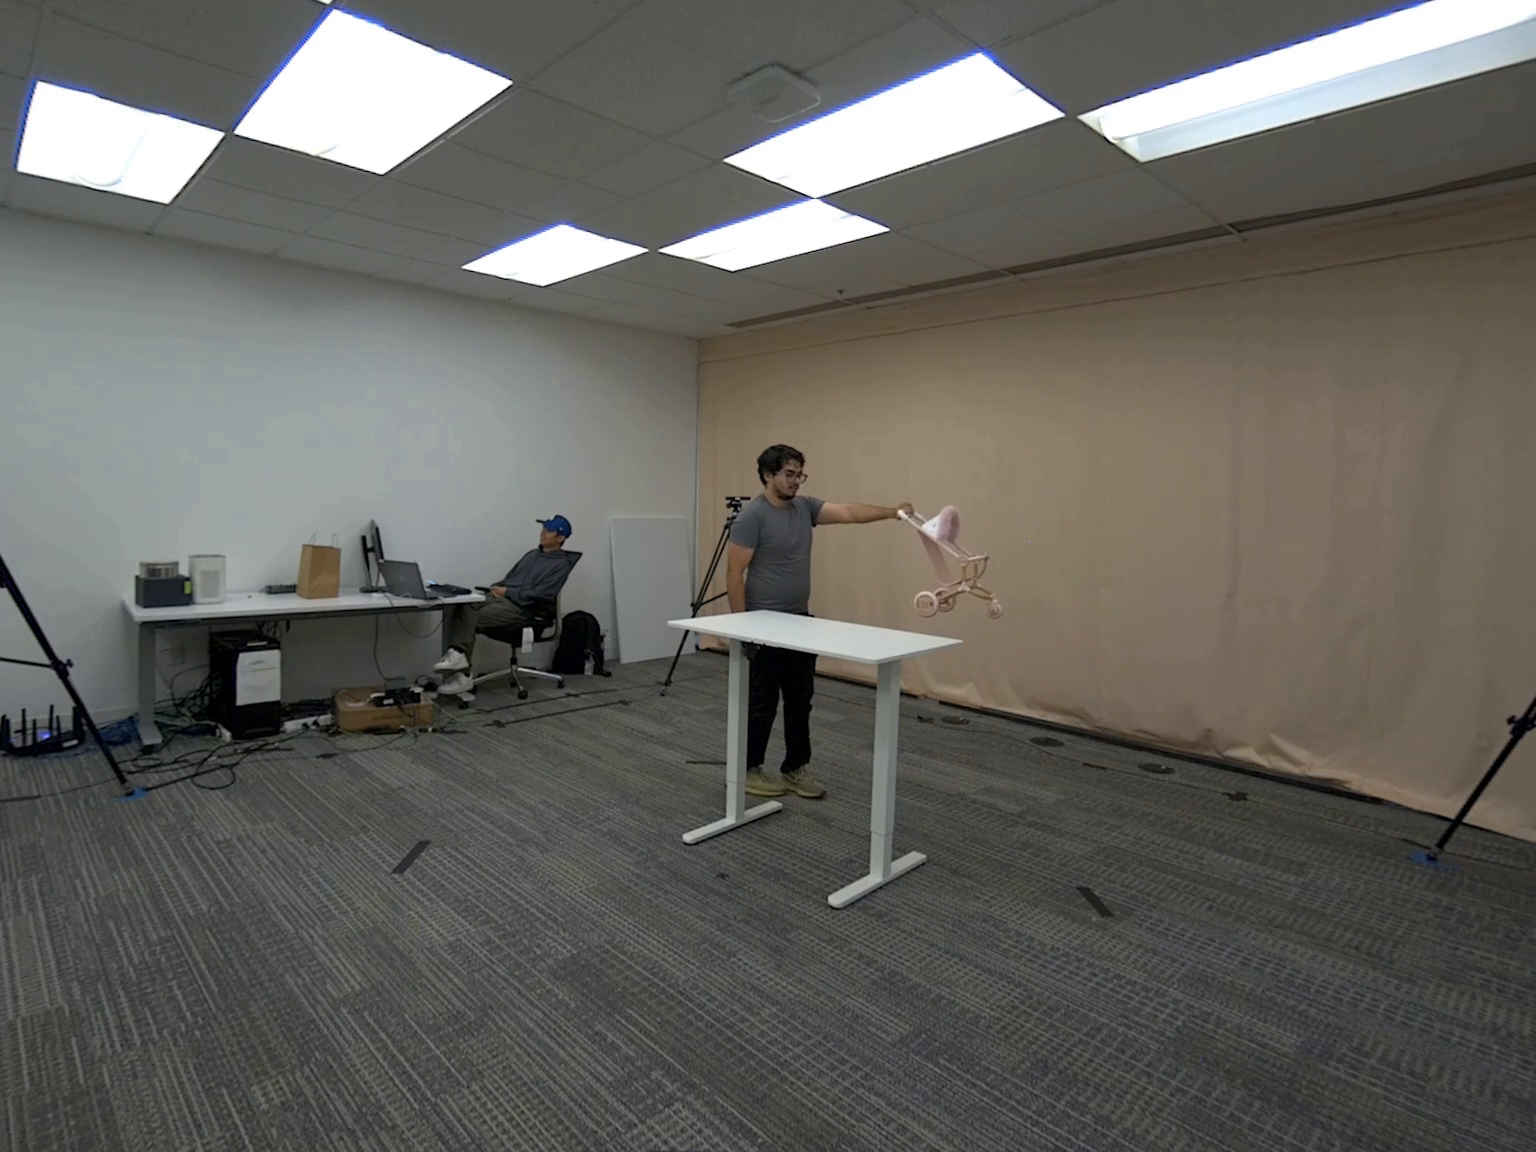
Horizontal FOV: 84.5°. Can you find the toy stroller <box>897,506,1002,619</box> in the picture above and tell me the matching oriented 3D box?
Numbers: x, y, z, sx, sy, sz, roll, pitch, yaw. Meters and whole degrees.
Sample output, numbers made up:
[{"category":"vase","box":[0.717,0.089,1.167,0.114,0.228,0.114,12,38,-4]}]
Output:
[{"category":"toy stroller","box":[0.776,-0.056,3.611,0.347,0.537,0.275,-14,-6,33]}]
